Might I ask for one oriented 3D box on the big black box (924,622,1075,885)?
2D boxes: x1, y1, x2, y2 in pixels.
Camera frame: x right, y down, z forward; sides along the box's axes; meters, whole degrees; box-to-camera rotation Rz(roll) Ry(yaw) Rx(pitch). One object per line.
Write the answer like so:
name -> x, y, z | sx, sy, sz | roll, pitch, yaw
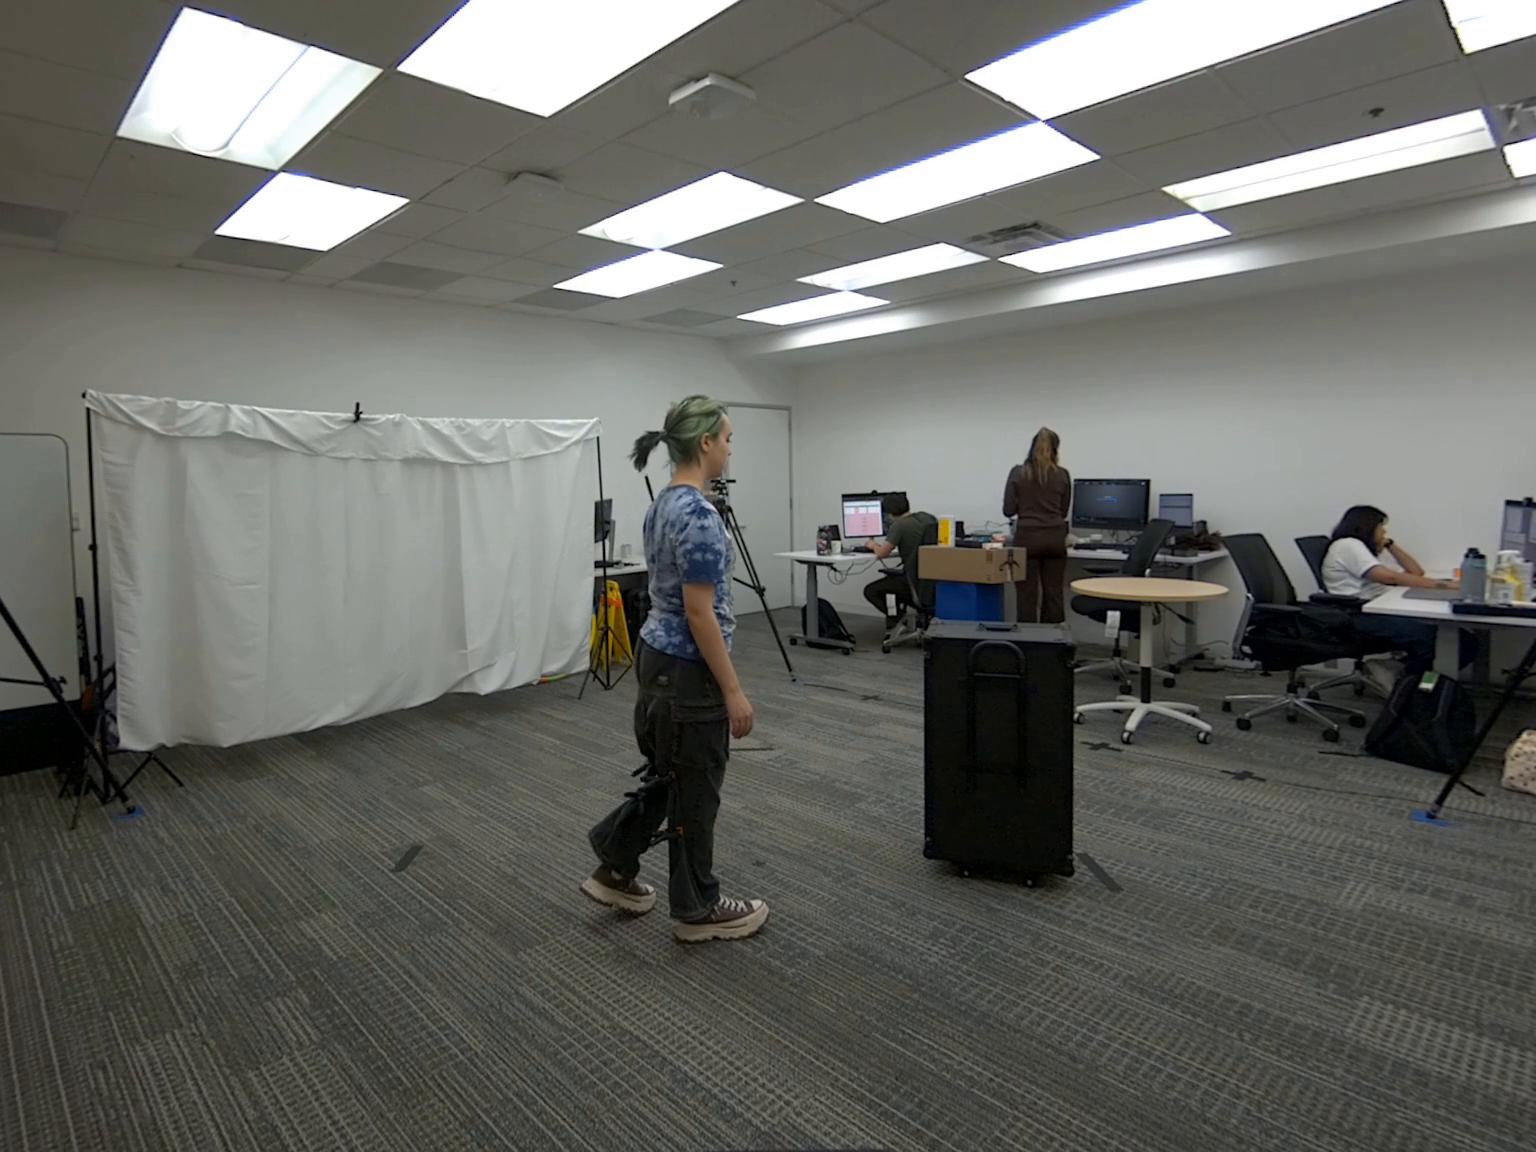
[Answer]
big black box -> 0.821, 0.614, 3.020 | 0.531, 0.858, 0.391 | 1, 5, 19
